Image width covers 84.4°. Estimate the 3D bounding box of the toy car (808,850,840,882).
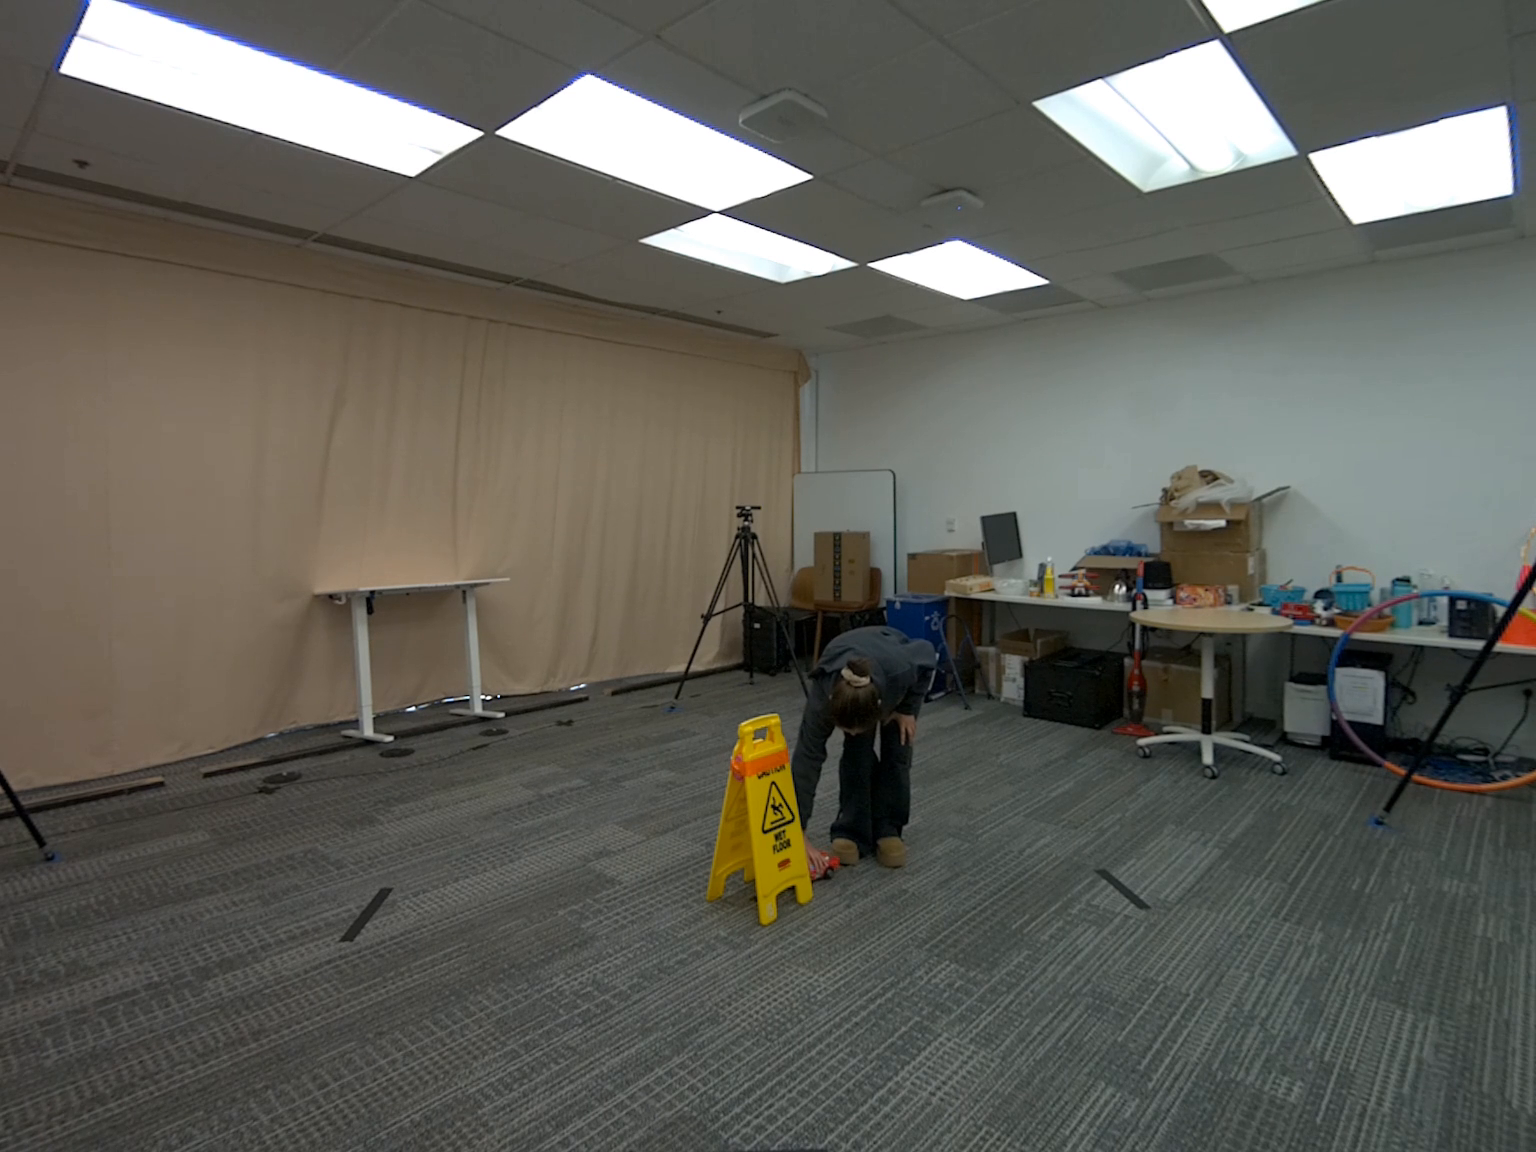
[{"bbox_3d":[0.181,1.090,3.142,0.249,0.082,0.134,-18,11,-34],"label":"toy car"}]
